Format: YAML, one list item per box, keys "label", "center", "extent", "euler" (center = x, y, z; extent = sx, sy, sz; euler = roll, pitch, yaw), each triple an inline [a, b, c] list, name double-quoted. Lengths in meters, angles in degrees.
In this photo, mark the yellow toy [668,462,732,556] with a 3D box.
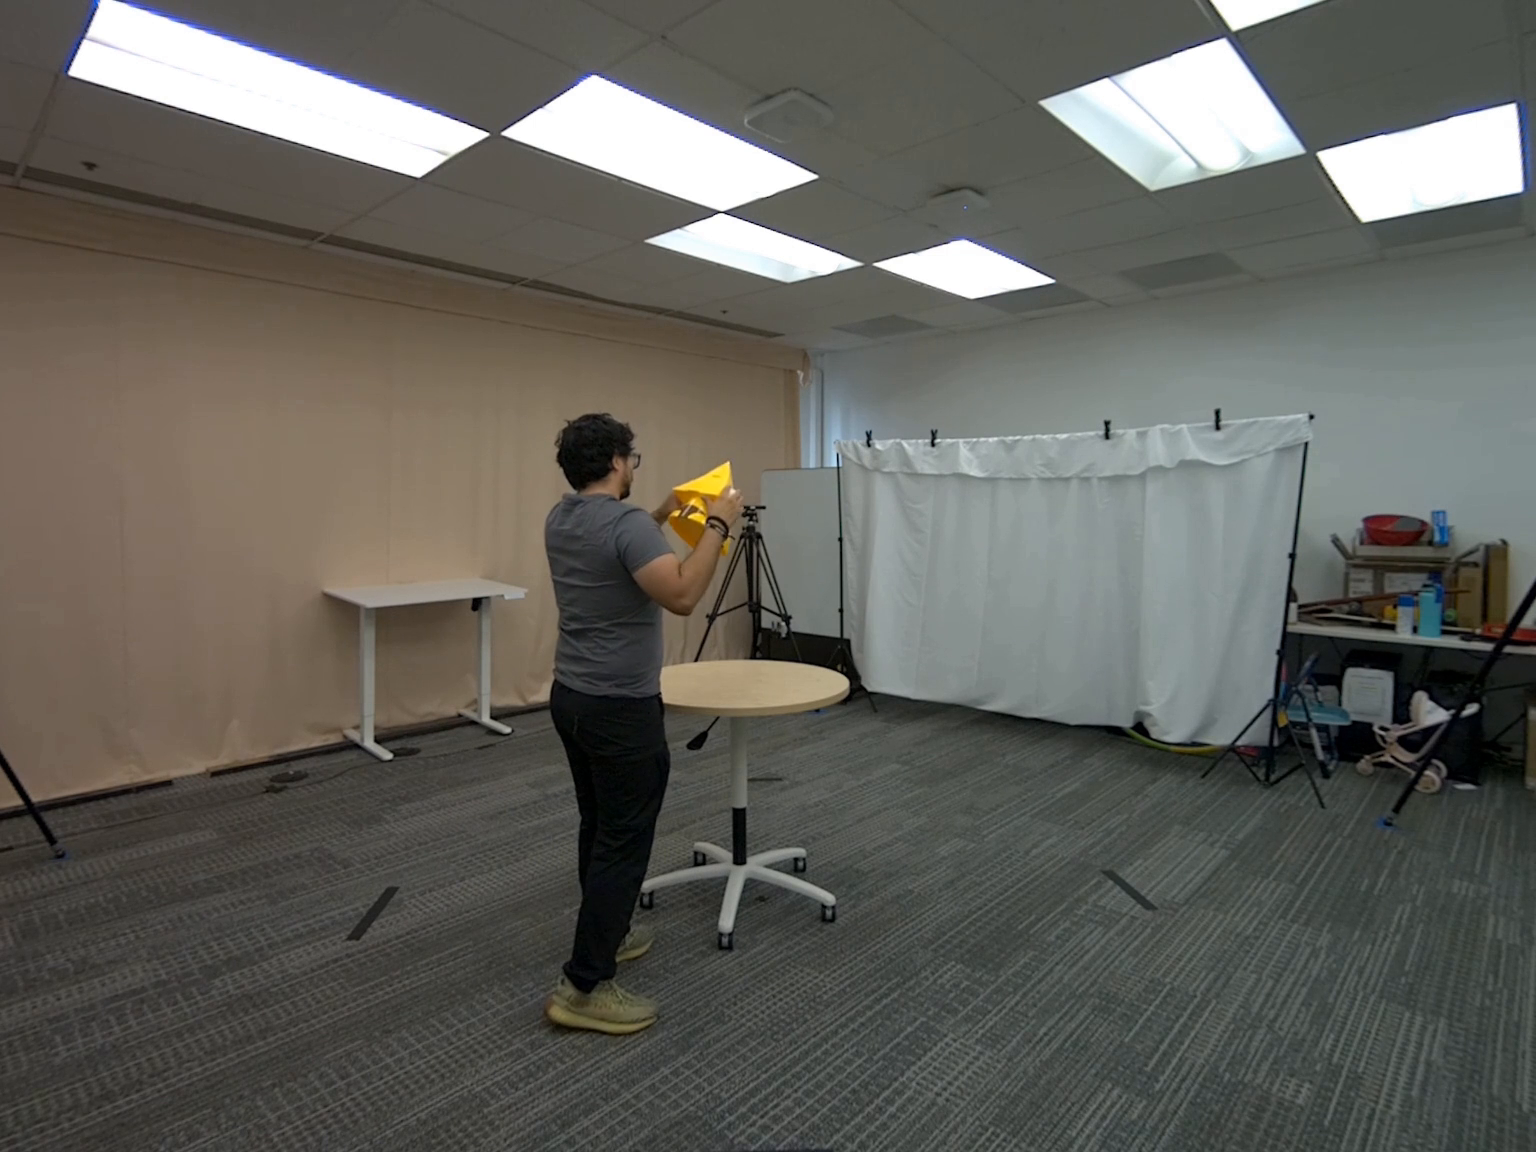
- label: "yellow toy"
  center: [-0.155, -0.204, 2.447]
  extent: [0.212, 0.230, 0.187]
  euler: [11, -31, 47]
